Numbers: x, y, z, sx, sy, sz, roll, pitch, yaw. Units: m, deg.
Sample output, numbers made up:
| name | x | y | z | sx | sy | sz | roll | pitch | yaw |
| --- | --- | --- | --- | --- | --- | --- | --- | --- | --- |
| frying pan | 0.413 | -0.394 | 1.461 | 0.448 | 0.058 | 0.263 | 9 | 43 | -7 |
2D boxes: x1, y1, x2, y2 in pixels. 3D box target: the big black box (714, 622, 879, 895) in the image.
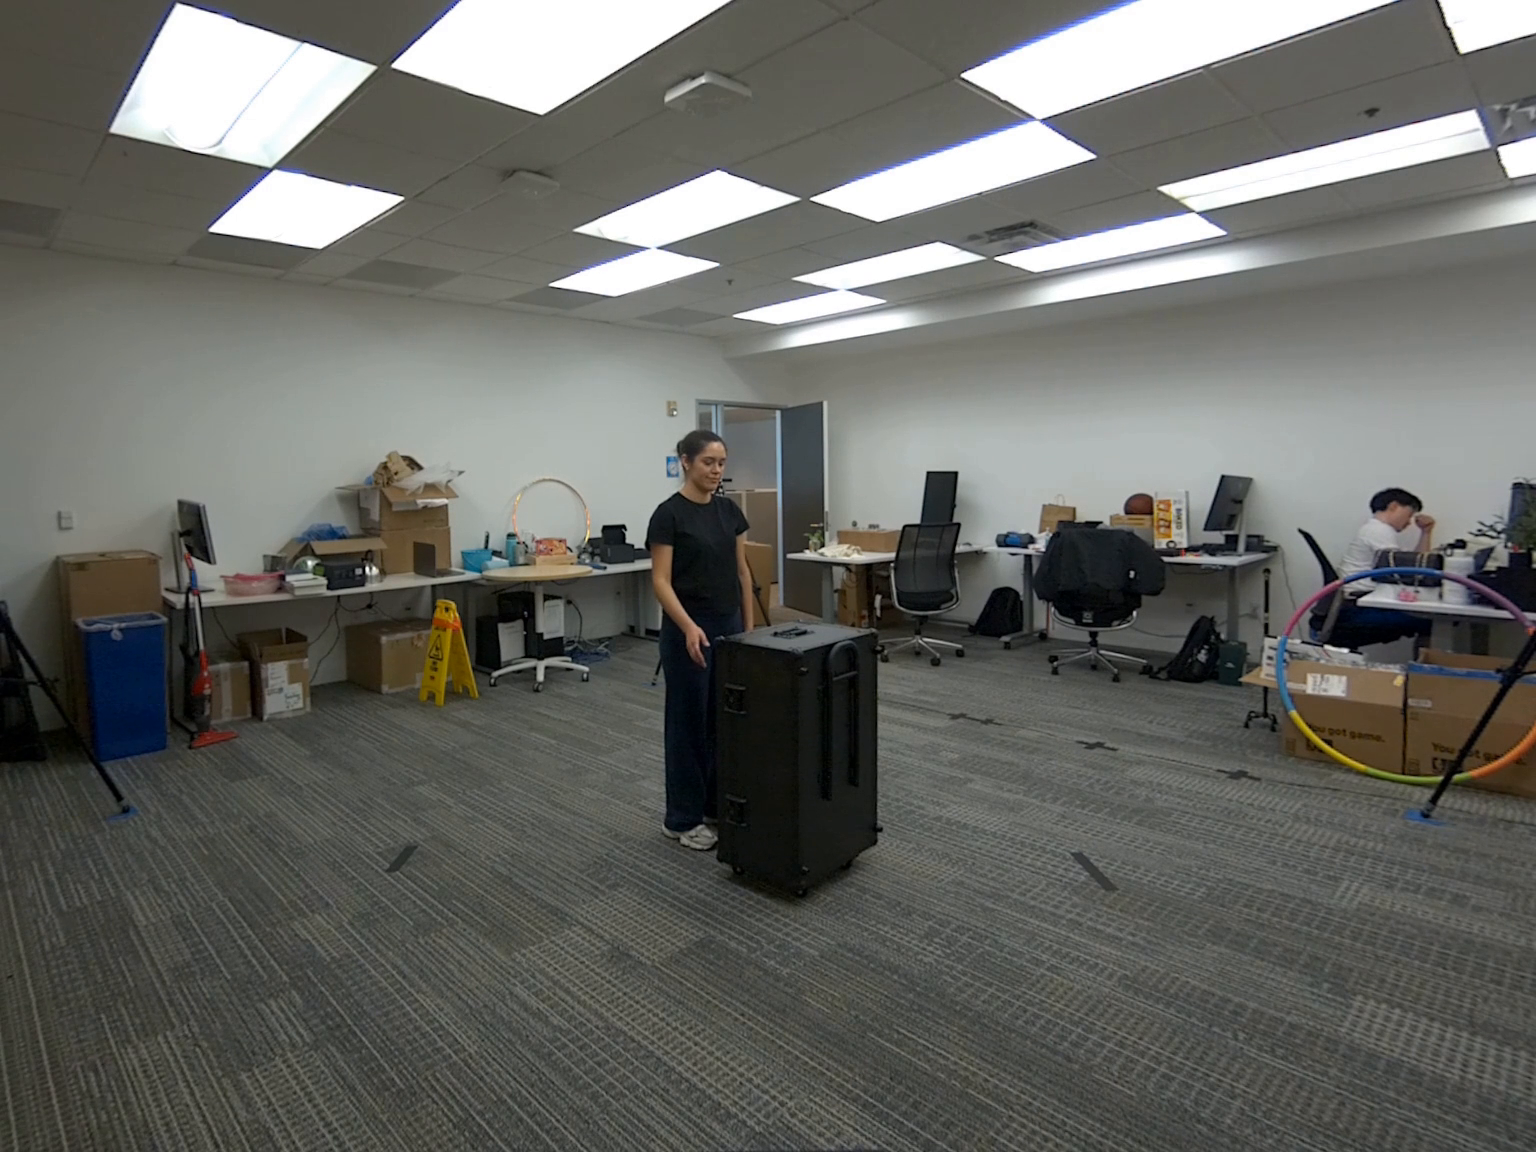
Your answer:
| name | x | y | z | sx | sy | sz | roll | pitch | yaw |
| --- | --- | --- | --- | --- | --- | --- | --- | --- | --- |
| big black box | 0.122 | 0.628 | 3.015 | 0.408 | 0.858 | 0.507 | 4 | 7 | 41 |
